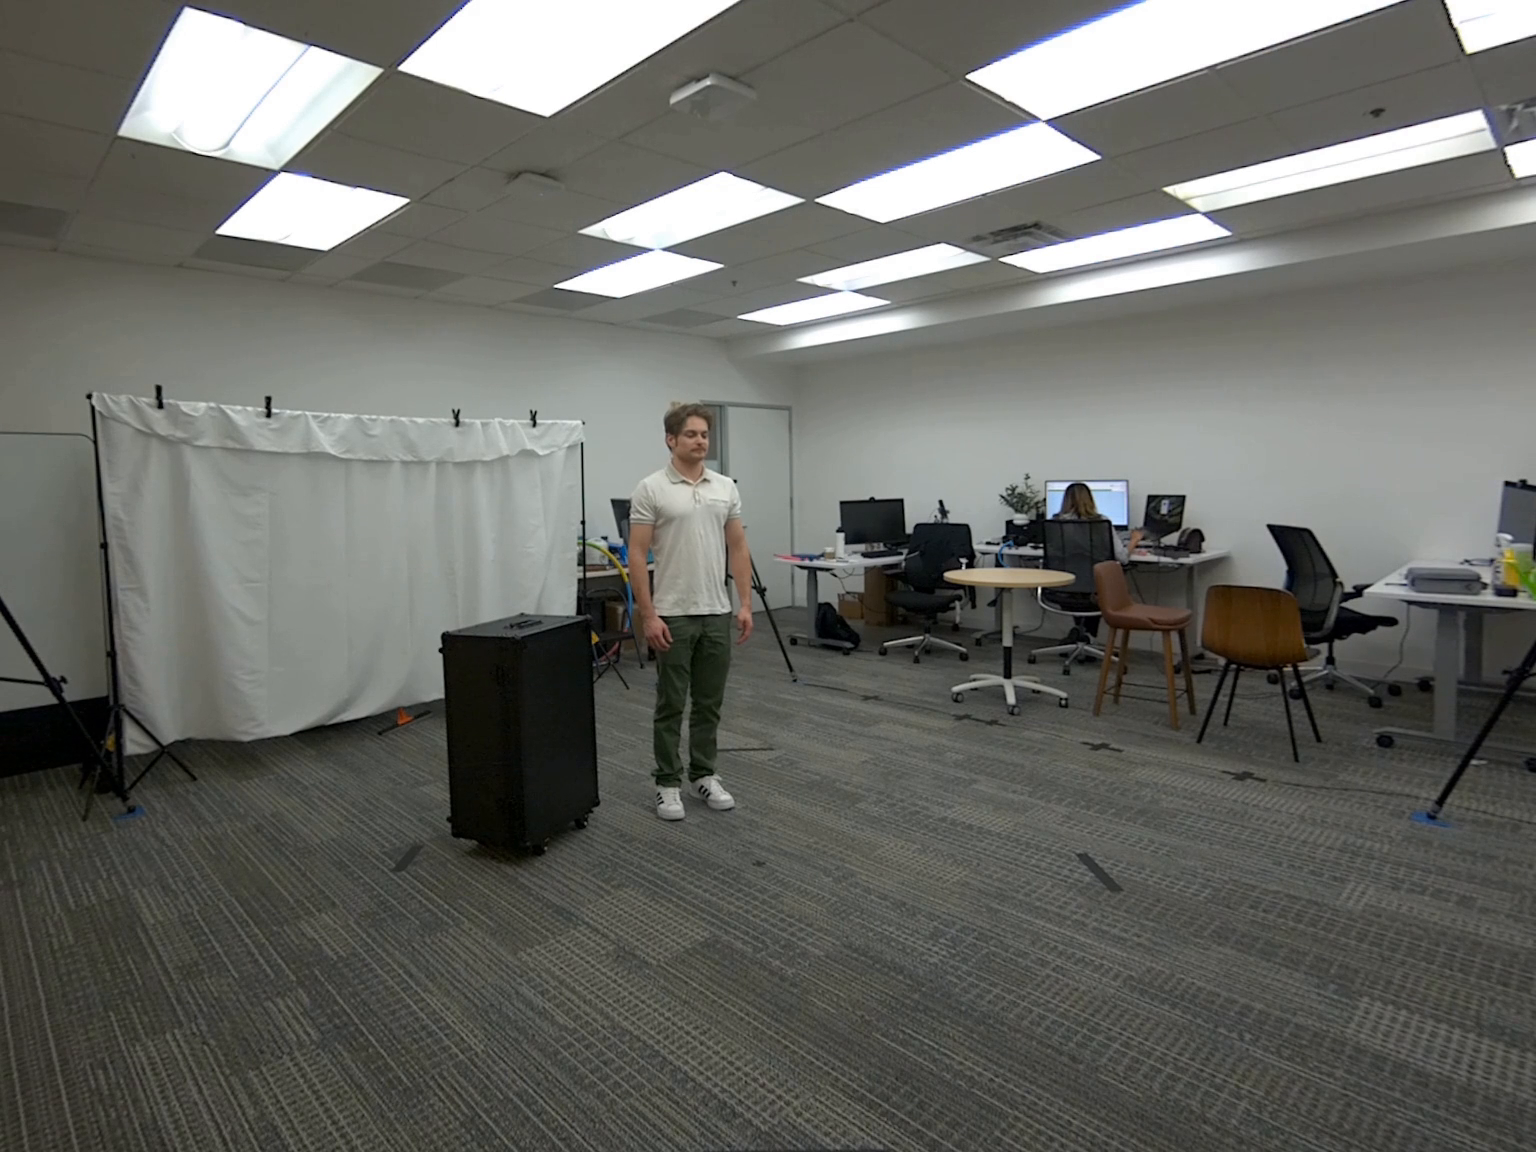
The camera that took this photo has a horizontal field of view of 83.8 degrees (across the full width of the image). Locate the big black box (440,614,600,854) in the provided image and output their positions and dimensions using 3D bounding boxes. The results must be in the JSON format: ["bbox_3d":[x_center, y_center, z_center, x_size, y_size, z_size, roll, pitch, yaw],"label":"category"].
[{"bbox_3d":[-0.962,0.613,3.359,0.394,0.865,0.514,1,4,23],"label":"big black box"}]
